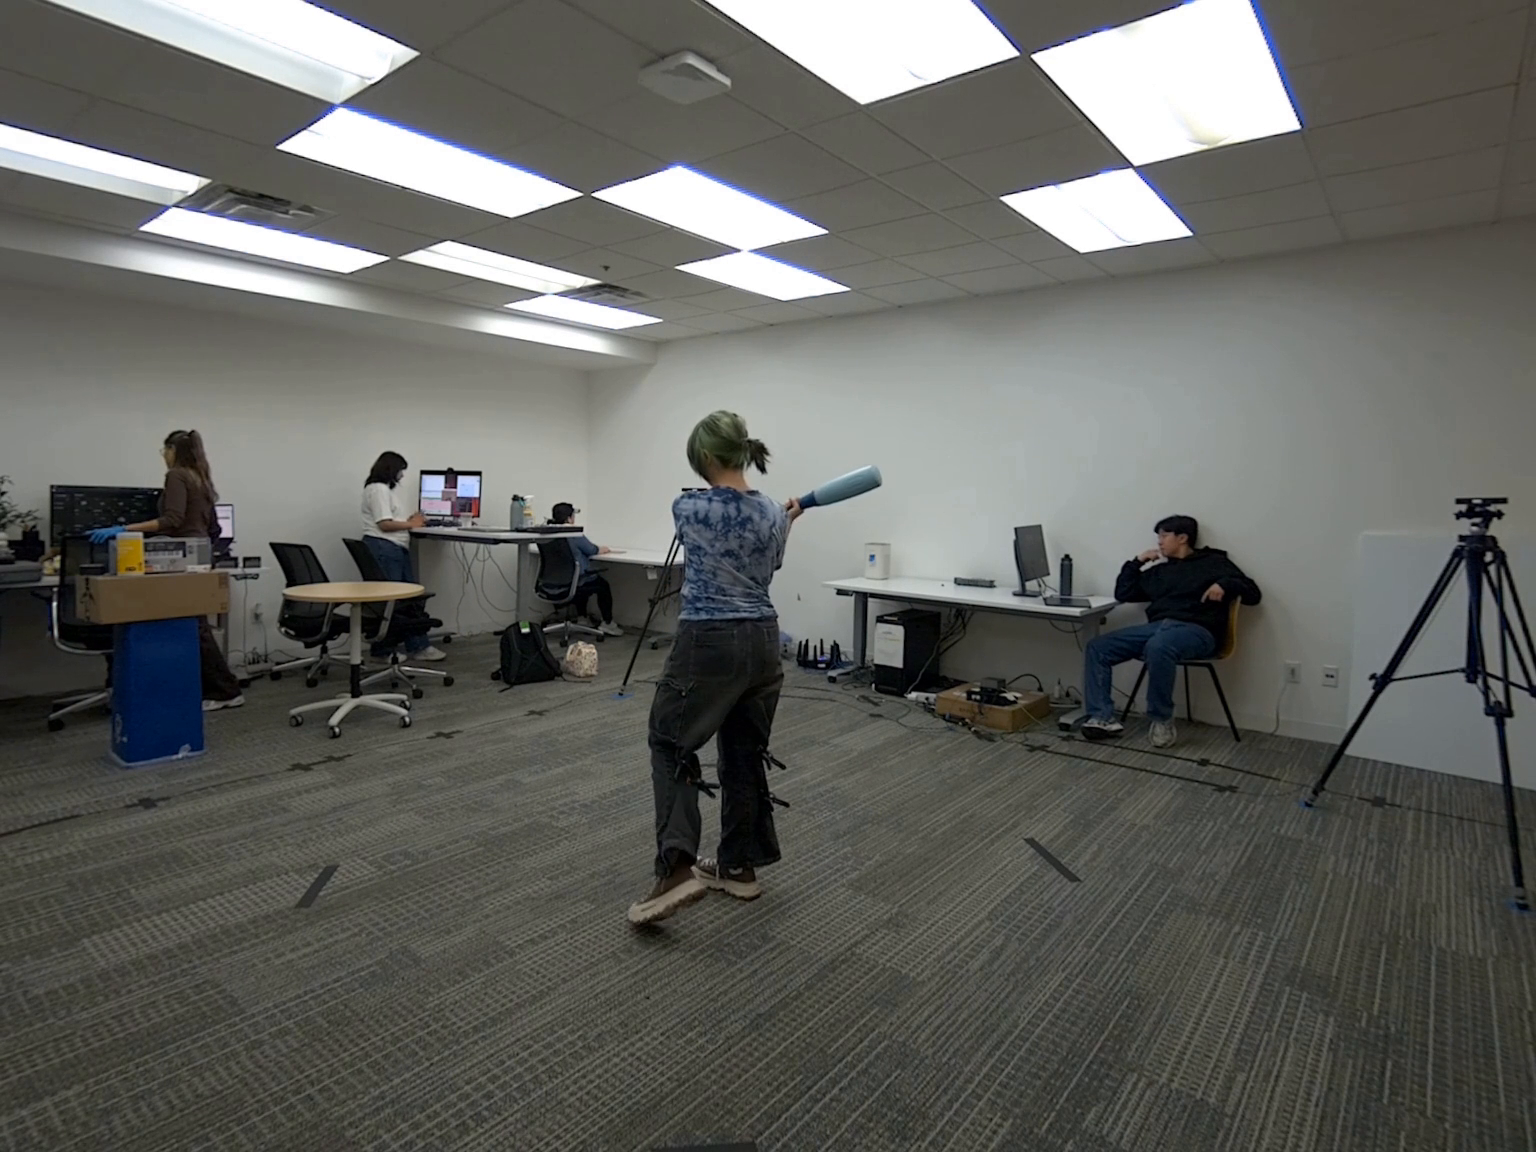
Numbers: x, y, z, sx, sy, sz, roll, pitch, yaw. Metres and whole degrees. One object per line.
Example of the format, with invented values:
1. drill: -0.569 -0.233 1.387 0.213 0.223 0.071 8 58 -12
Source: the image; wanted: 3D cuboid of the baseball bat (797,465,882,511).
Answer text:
1. baseball bat: 0.143 -0.285 3.219 0.551 0.090 0.087 -19 -5 25
